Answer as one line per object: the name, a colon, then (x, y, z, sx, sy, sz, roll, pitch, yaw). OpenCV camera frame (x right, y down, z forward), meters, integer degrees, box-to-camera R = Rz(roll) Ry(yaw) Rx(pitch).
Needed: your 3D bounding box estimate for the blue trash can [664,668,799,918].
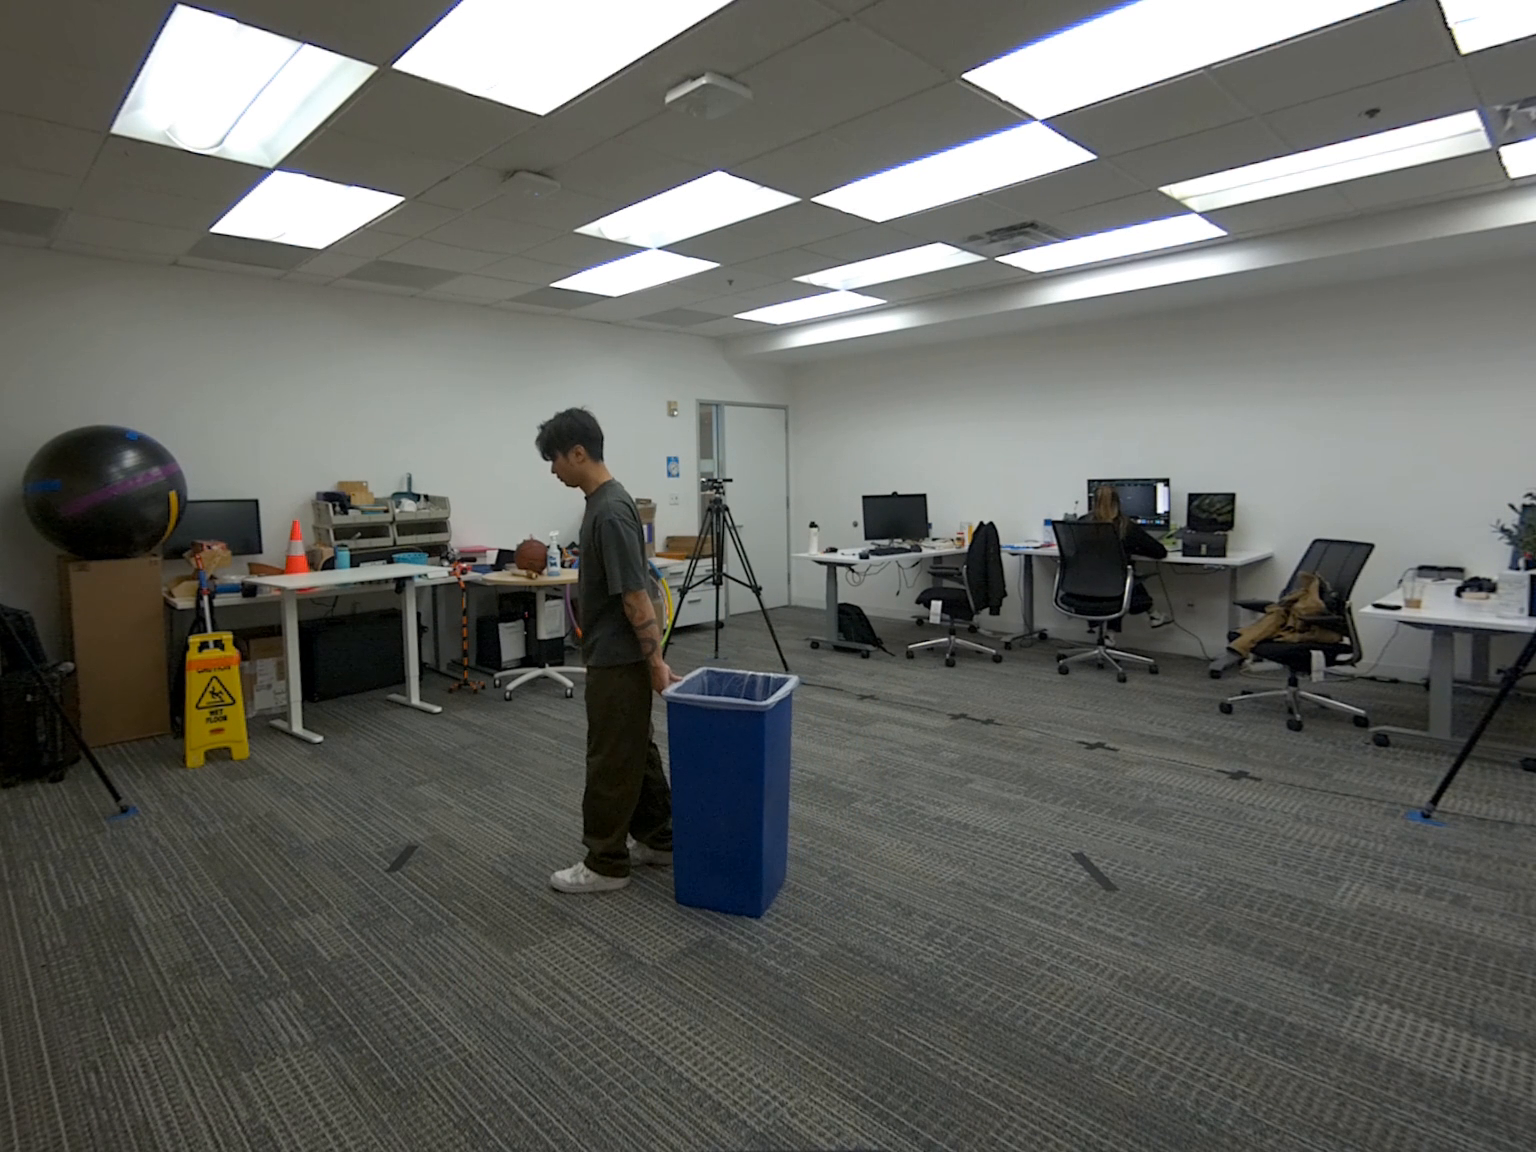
blue trash can: (-0.117, 0.710, 2.863, 0.385, 0.711, 0.369, 1, 5, 18)
